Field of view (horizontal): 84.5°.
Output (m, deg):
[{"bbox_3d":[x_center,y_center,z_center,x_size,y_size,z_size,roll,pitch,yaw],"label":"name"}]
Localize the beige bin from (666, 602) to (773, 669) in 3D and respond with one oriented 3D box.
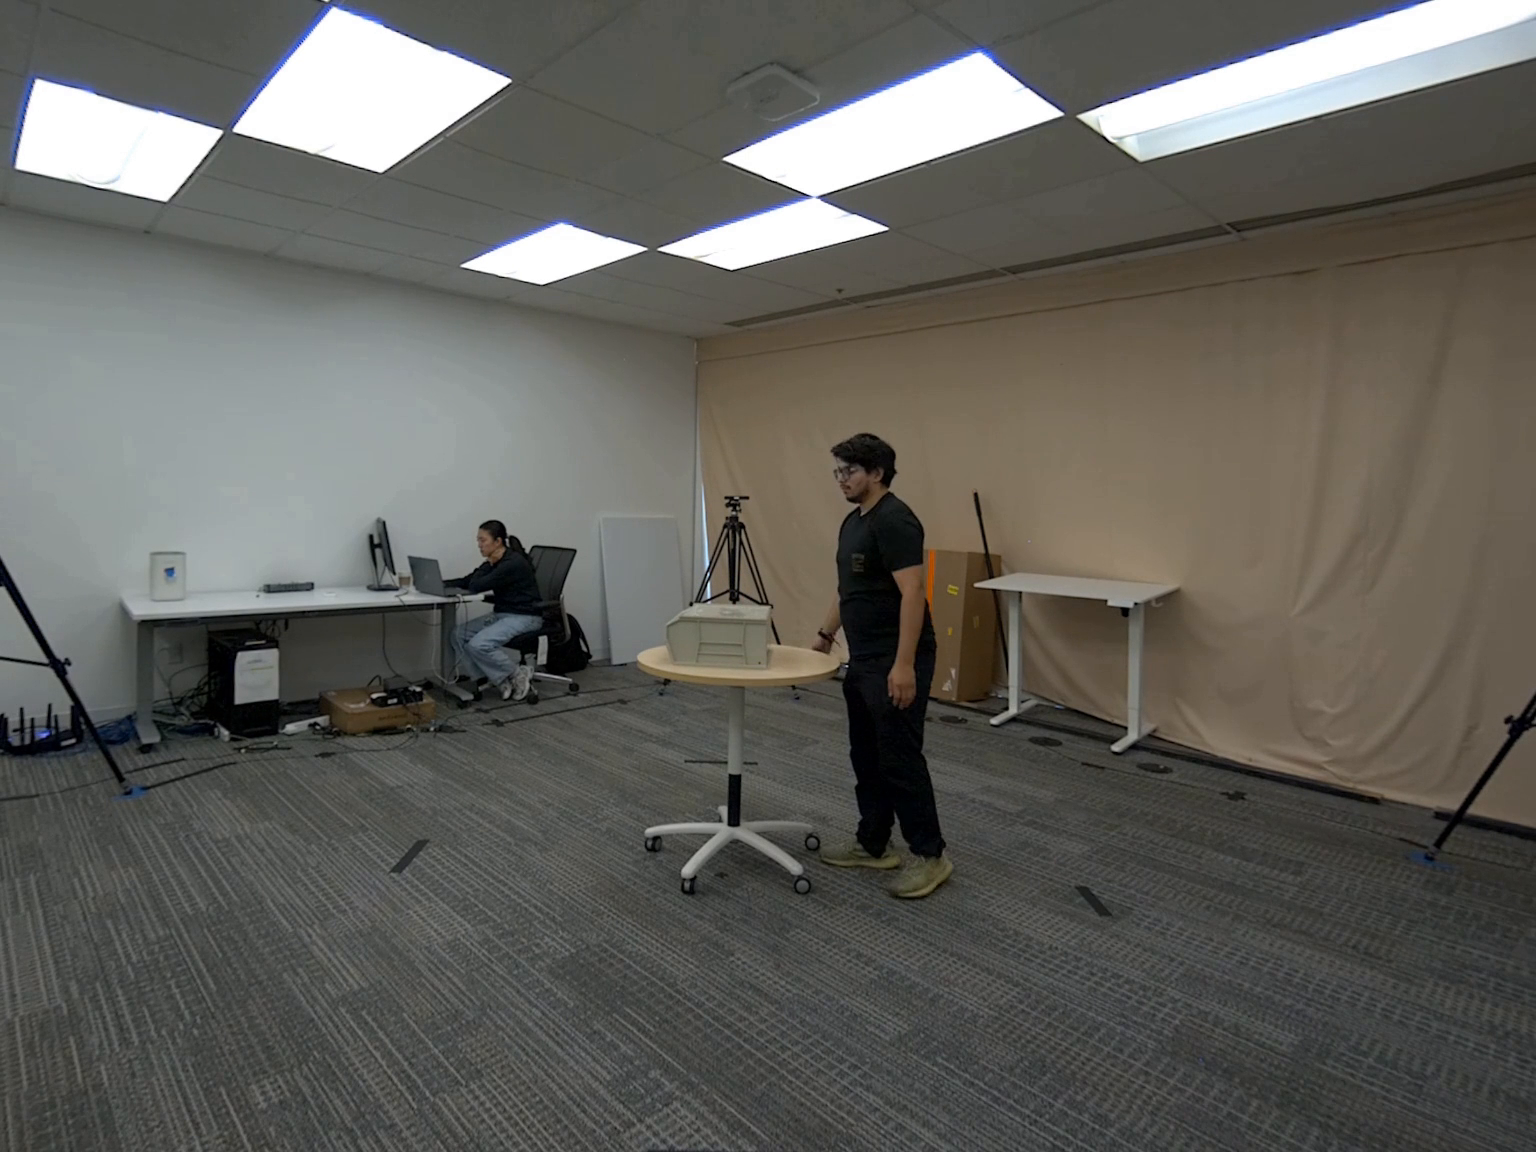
[{"bbox_3d":[-0.183,0.216,3.200,0.379,0.188,0.422,1,5,4],"label":"beige bin"}]
